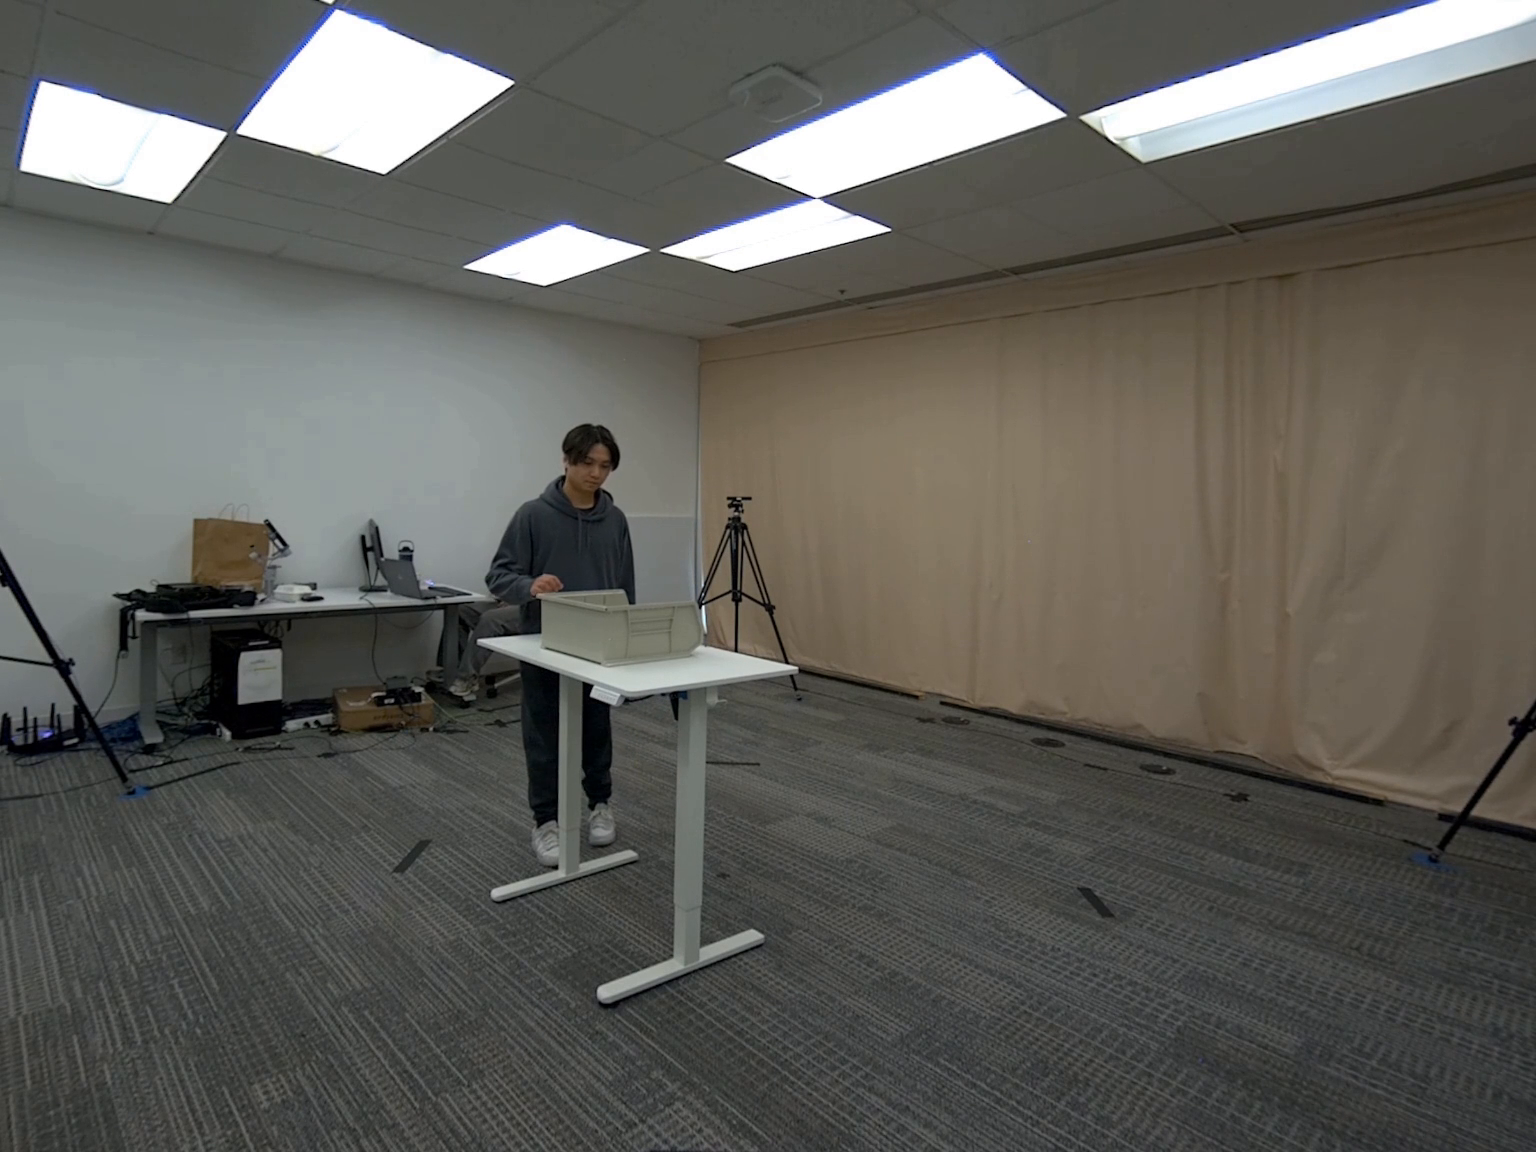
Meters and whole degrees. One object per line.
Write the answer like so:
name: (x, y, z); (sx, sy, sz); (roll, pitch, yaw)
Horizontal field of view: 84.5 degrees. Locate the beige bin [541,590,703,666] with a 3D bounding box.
beige bin: (-0.490, 0.160, 2.734); (0.369, 0.188, 0.433); (-4, 7, -42)
